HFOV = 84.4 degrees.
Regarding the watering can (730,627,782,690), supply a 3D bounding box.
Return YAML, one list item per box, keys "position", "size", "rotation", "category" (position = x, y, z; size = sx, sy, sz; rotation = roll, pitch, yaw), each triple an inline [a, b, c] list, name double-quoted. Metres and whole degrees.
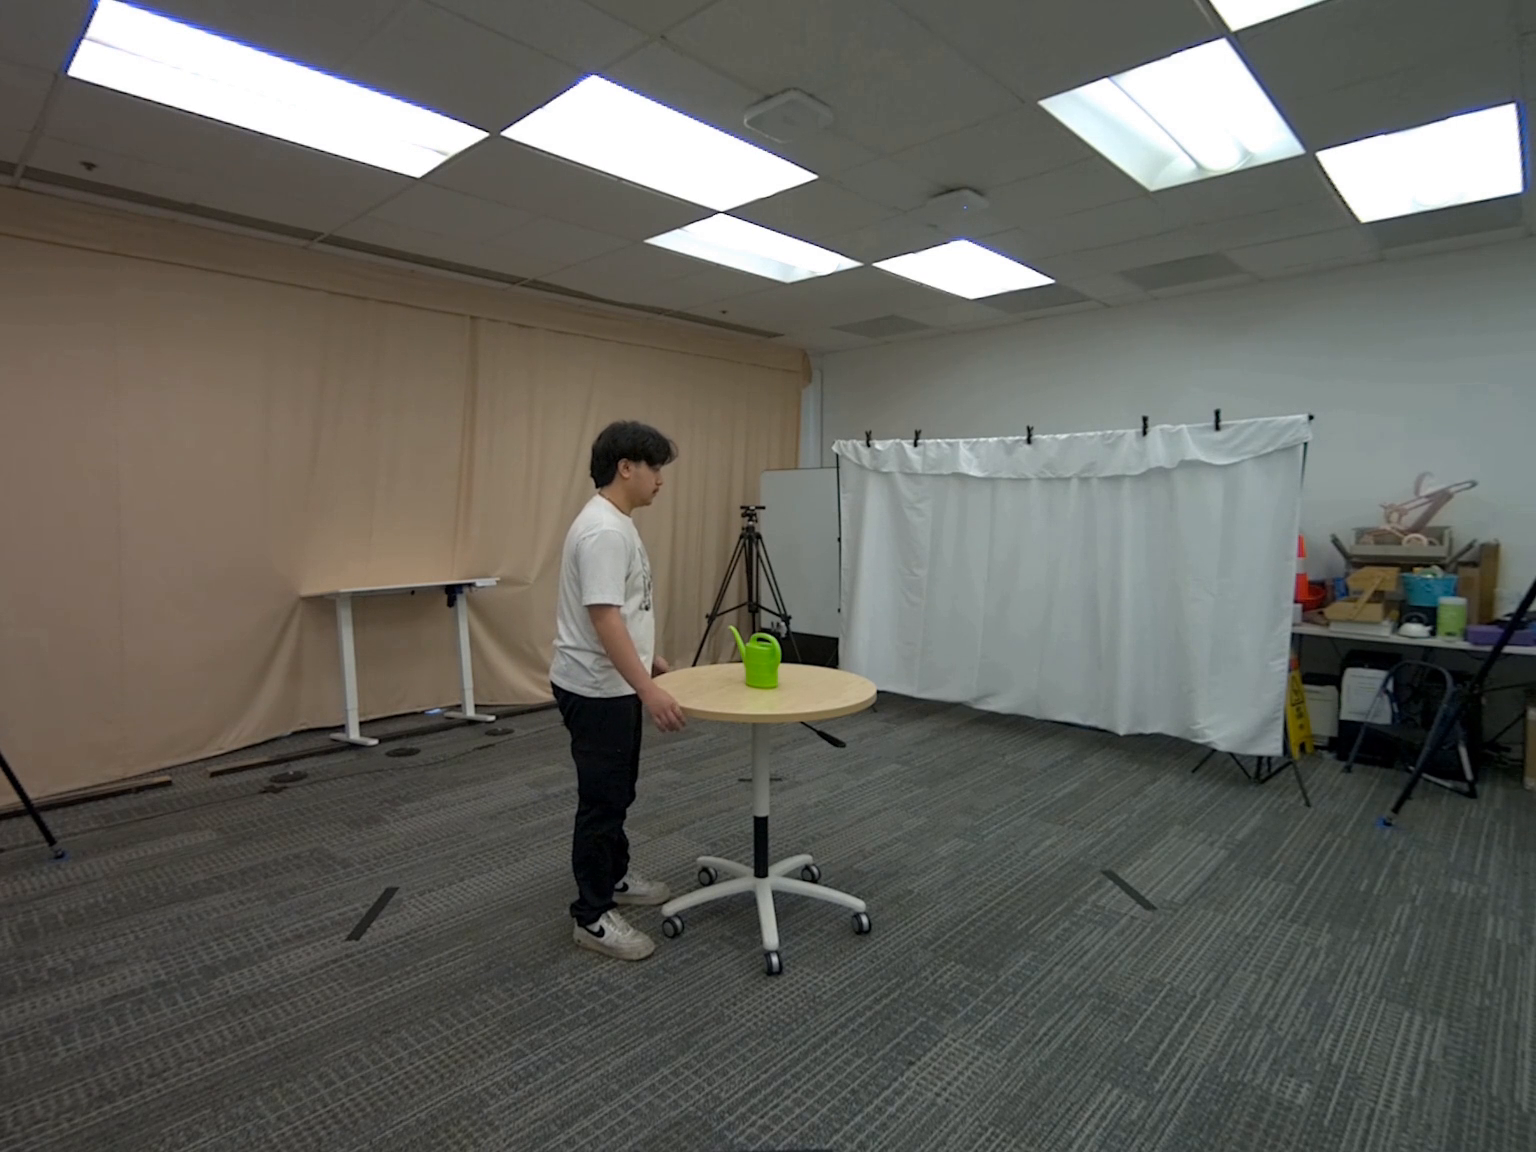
- position: [-0.036, 0.275, 2.839]
  size: [0.096, 0.176, 0.285]
  rotation: [0, 5, -25]
  category: "watering can"
